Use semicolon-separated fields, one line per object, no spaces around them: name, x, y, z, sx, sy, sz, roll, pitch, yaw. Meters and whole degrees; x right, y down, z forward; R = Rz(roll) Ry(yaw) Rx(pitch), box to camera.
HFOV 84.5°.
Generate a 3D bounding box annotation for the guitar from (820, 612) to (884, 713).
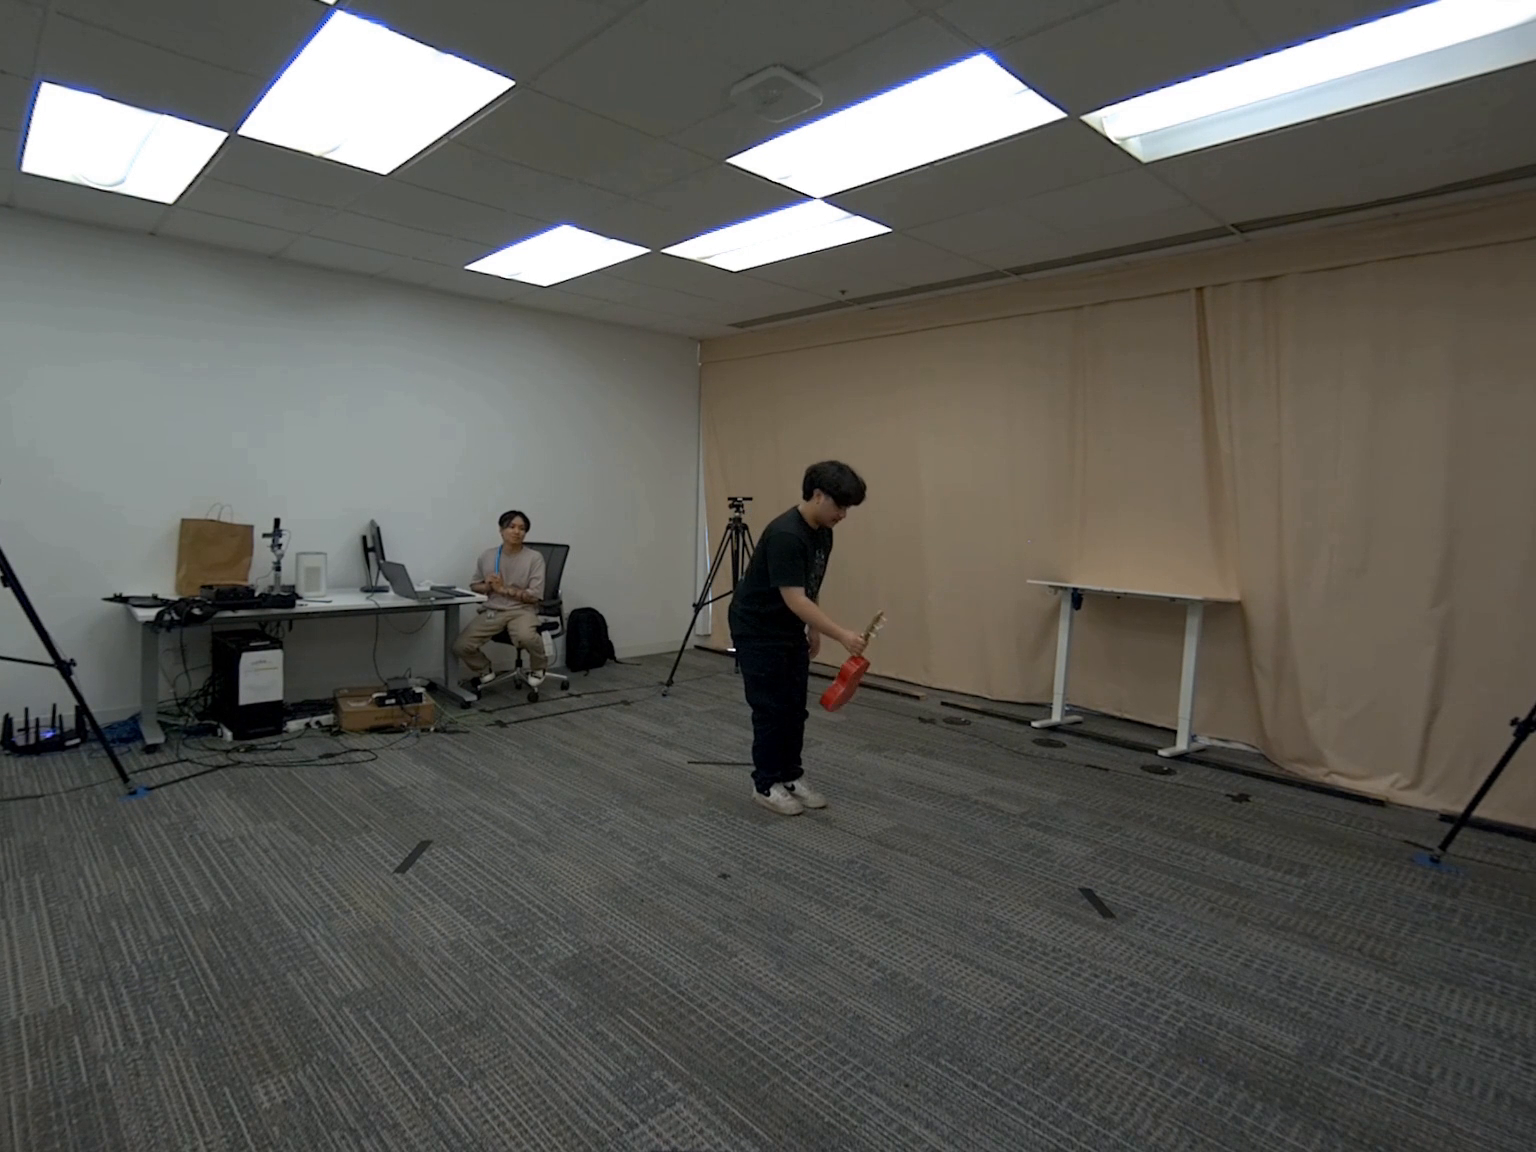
guitar;0.340;0.365;3.463;0.072;0.492;0.190;39;36;24
